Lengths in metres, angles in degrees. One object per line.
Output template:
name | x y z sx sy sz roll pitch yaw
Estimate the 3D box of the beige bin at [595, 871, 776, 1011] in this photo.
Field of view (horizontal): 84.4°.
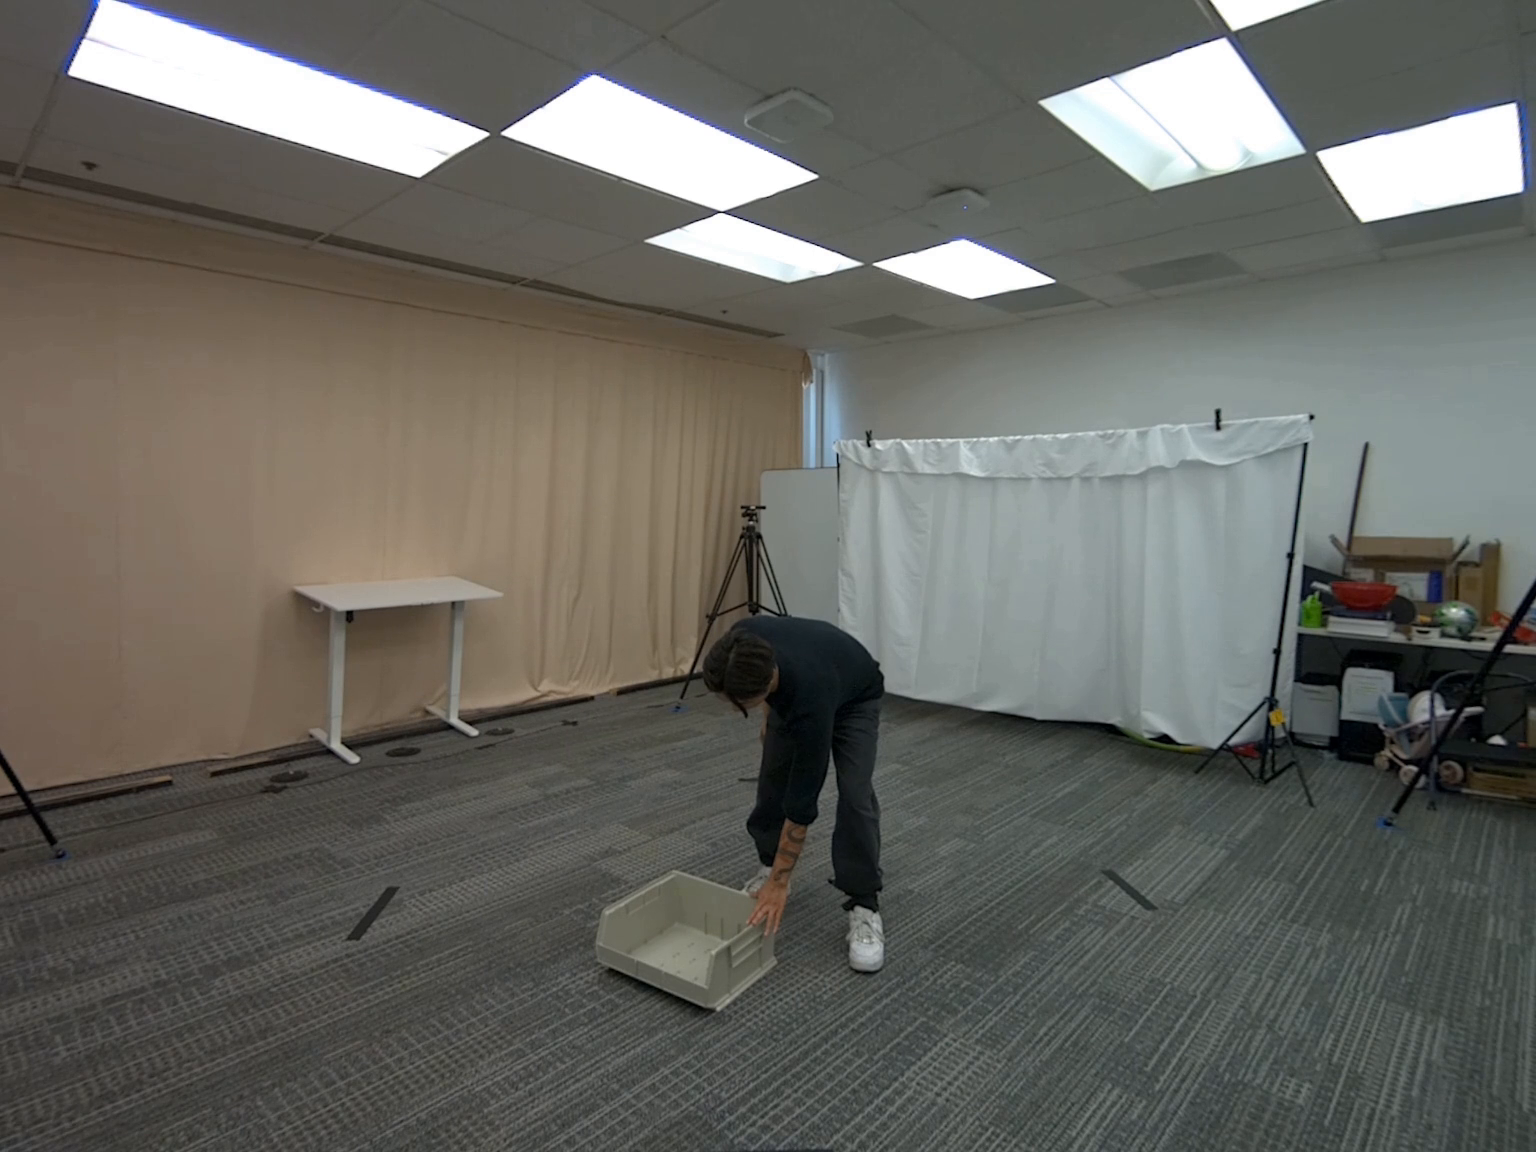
beige bin | -0.240 1.096 2.536 0.435 0.188 0.366 2 4 34
